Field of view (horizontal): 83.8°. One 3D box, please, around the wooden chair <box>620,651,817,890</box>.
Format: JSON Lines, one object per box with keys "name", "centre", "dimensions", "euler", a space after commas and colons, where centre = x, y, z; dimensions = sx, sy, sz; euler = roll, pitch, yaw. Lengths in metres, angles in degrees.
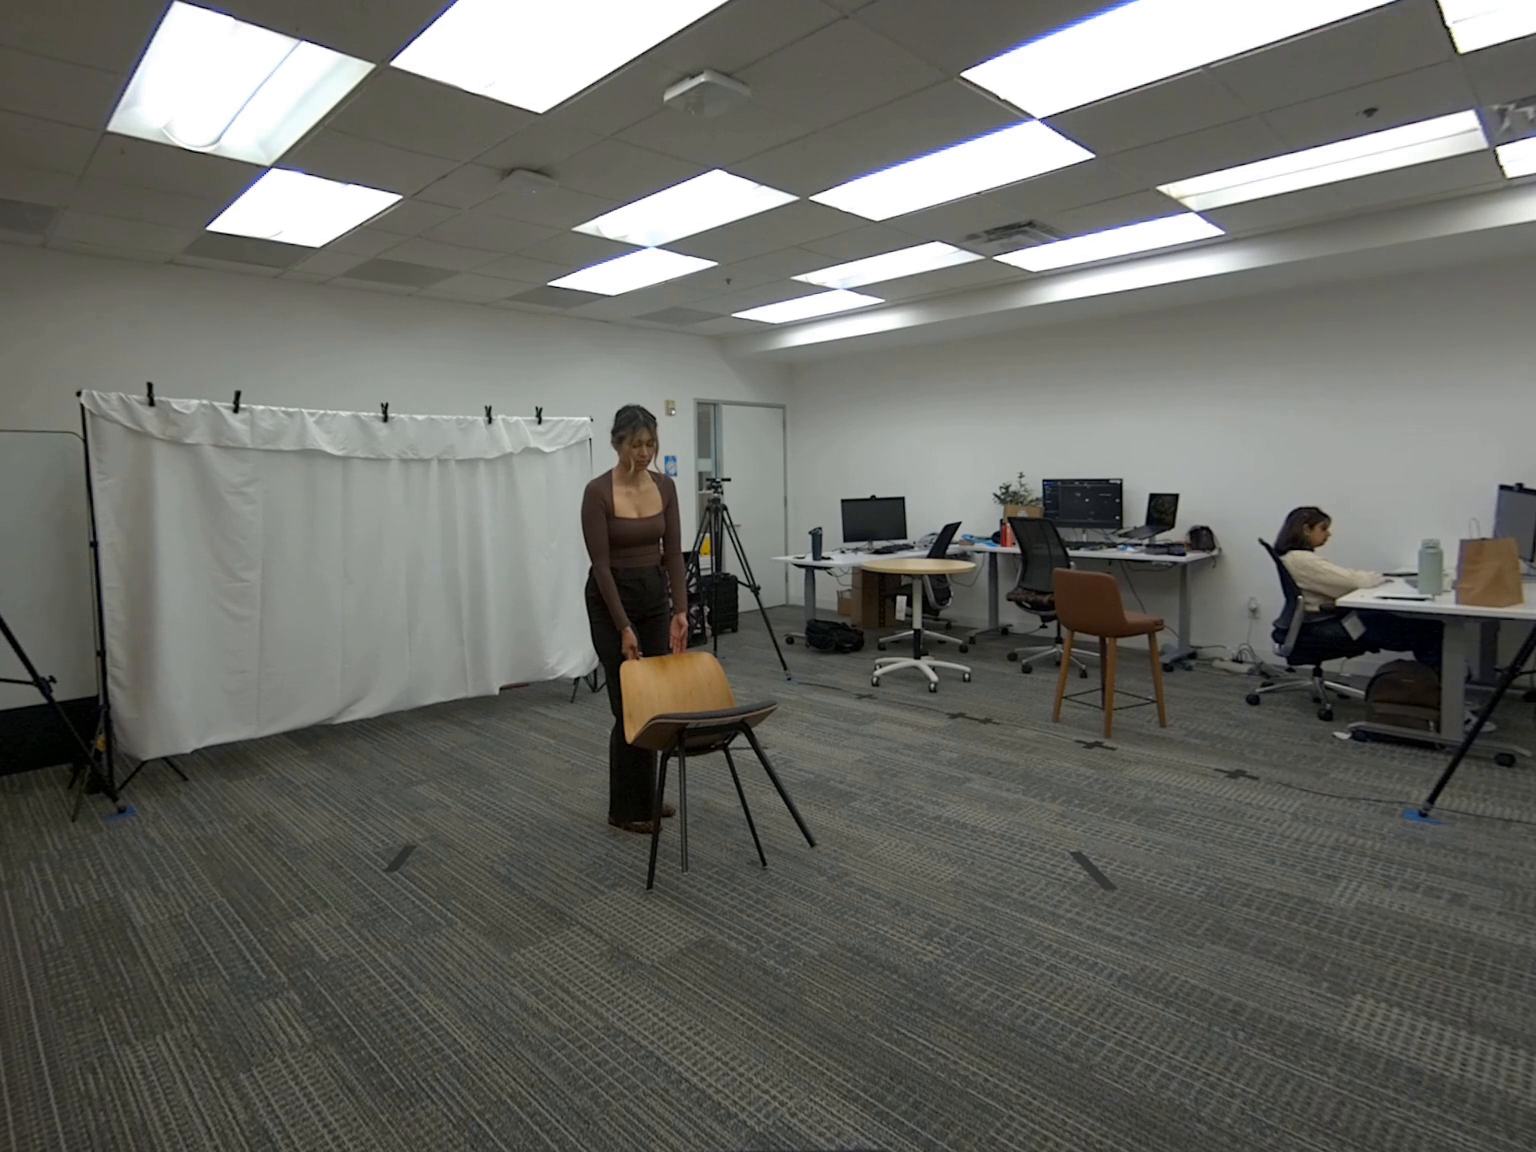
{"name": "wooden chair", "centre": [-0.220, 0.573, 2.970], "dimensions": [0.469, 0.902, 0.519], "euler": [-3, -30, -23]}
